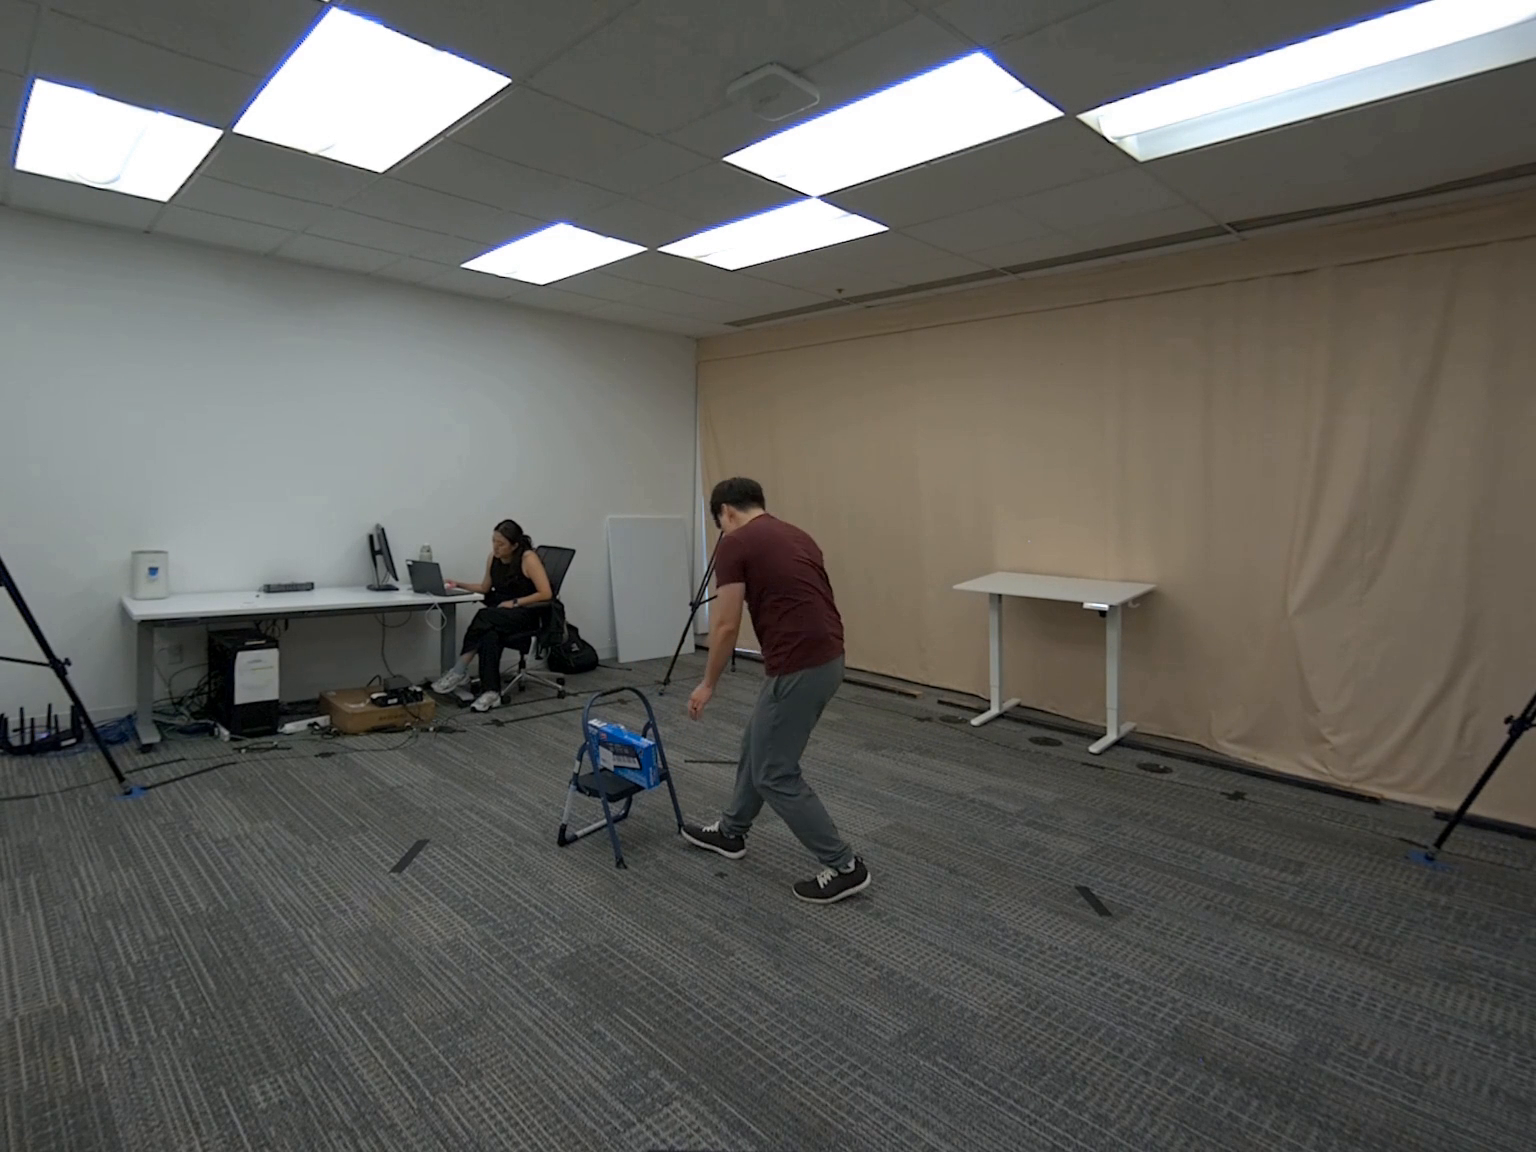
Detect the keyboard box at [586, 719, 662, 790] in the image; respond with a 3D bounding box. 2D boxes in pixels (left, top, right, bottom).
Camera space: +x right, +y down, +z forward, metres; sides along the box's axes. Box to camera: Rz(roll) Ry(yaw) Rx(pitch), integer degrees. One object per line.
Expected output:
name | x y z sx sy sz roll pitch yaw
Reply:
keyboard box | -0.597 0.712 3.406 0.058 0.175 0.448 -12 12 -41
